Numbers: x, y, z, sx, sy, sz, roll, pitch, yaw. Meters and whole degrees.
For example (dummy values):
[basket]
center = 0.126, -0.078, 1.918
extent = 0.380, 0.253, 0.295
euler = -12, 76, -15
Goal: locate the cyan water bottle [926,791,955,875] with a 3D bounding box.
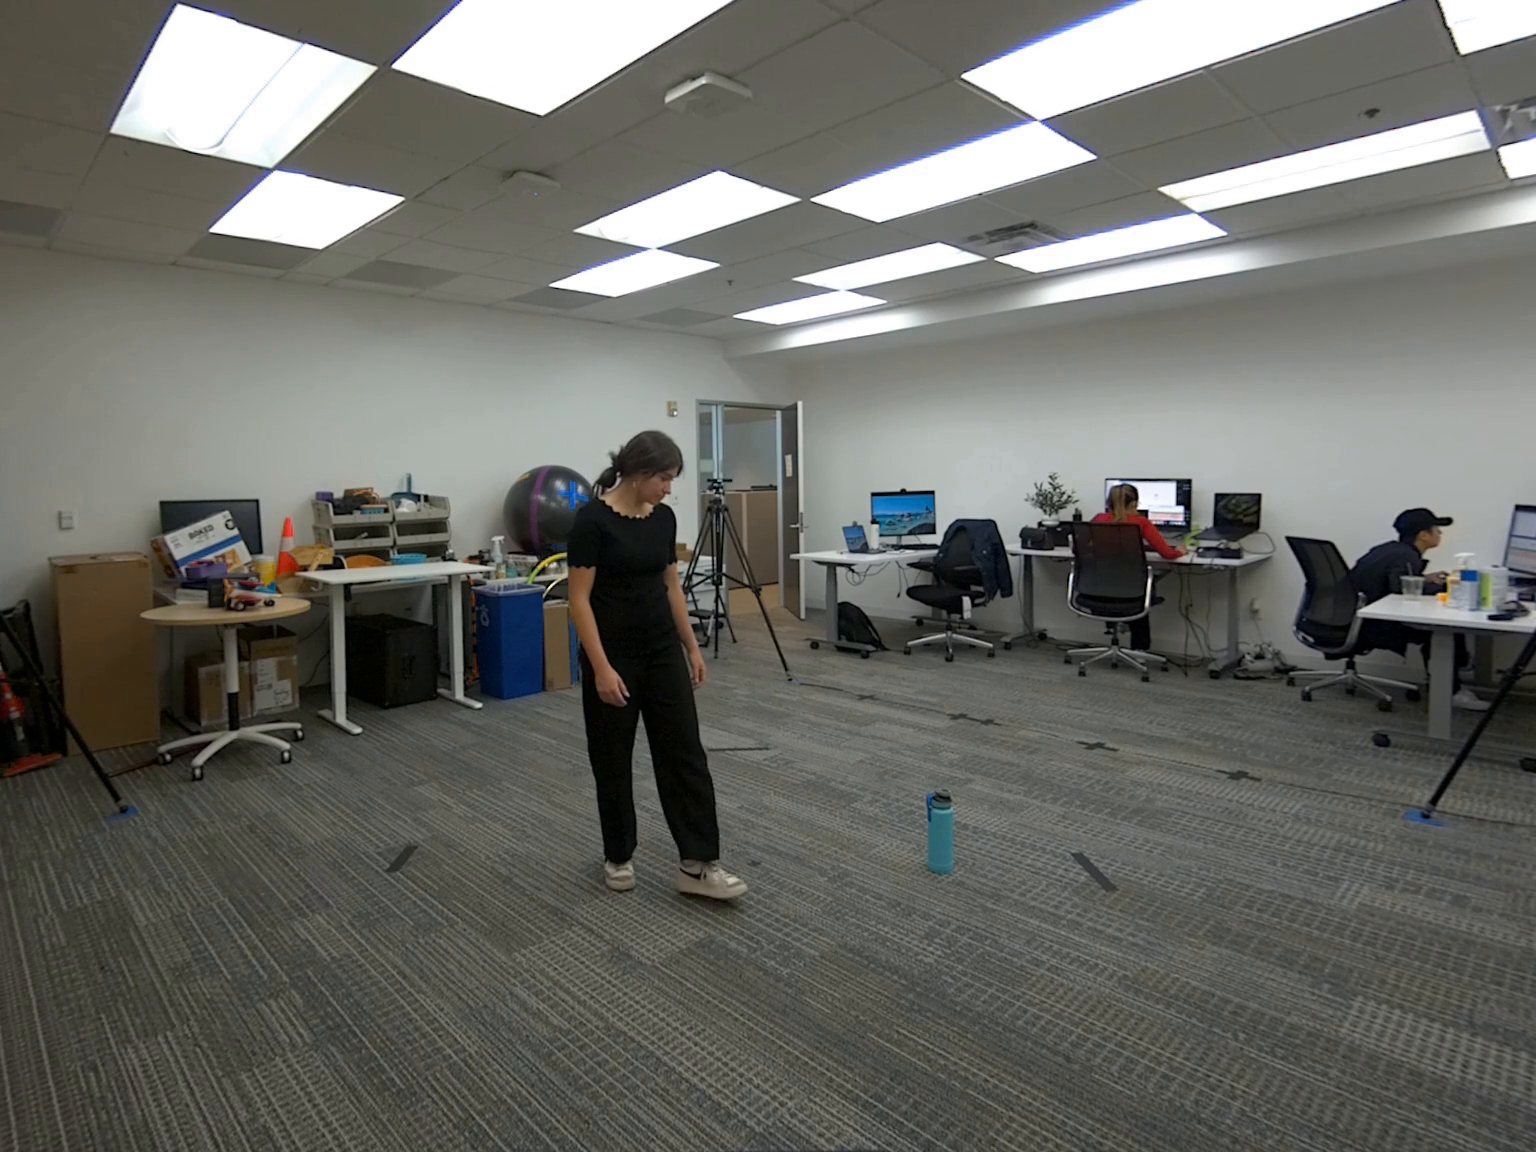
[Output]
[cyan water bottle]
center = 0.614, 0.901, 3.028
extent = 0.092, 0.282, 0.093
euler = -1, 4, -2
